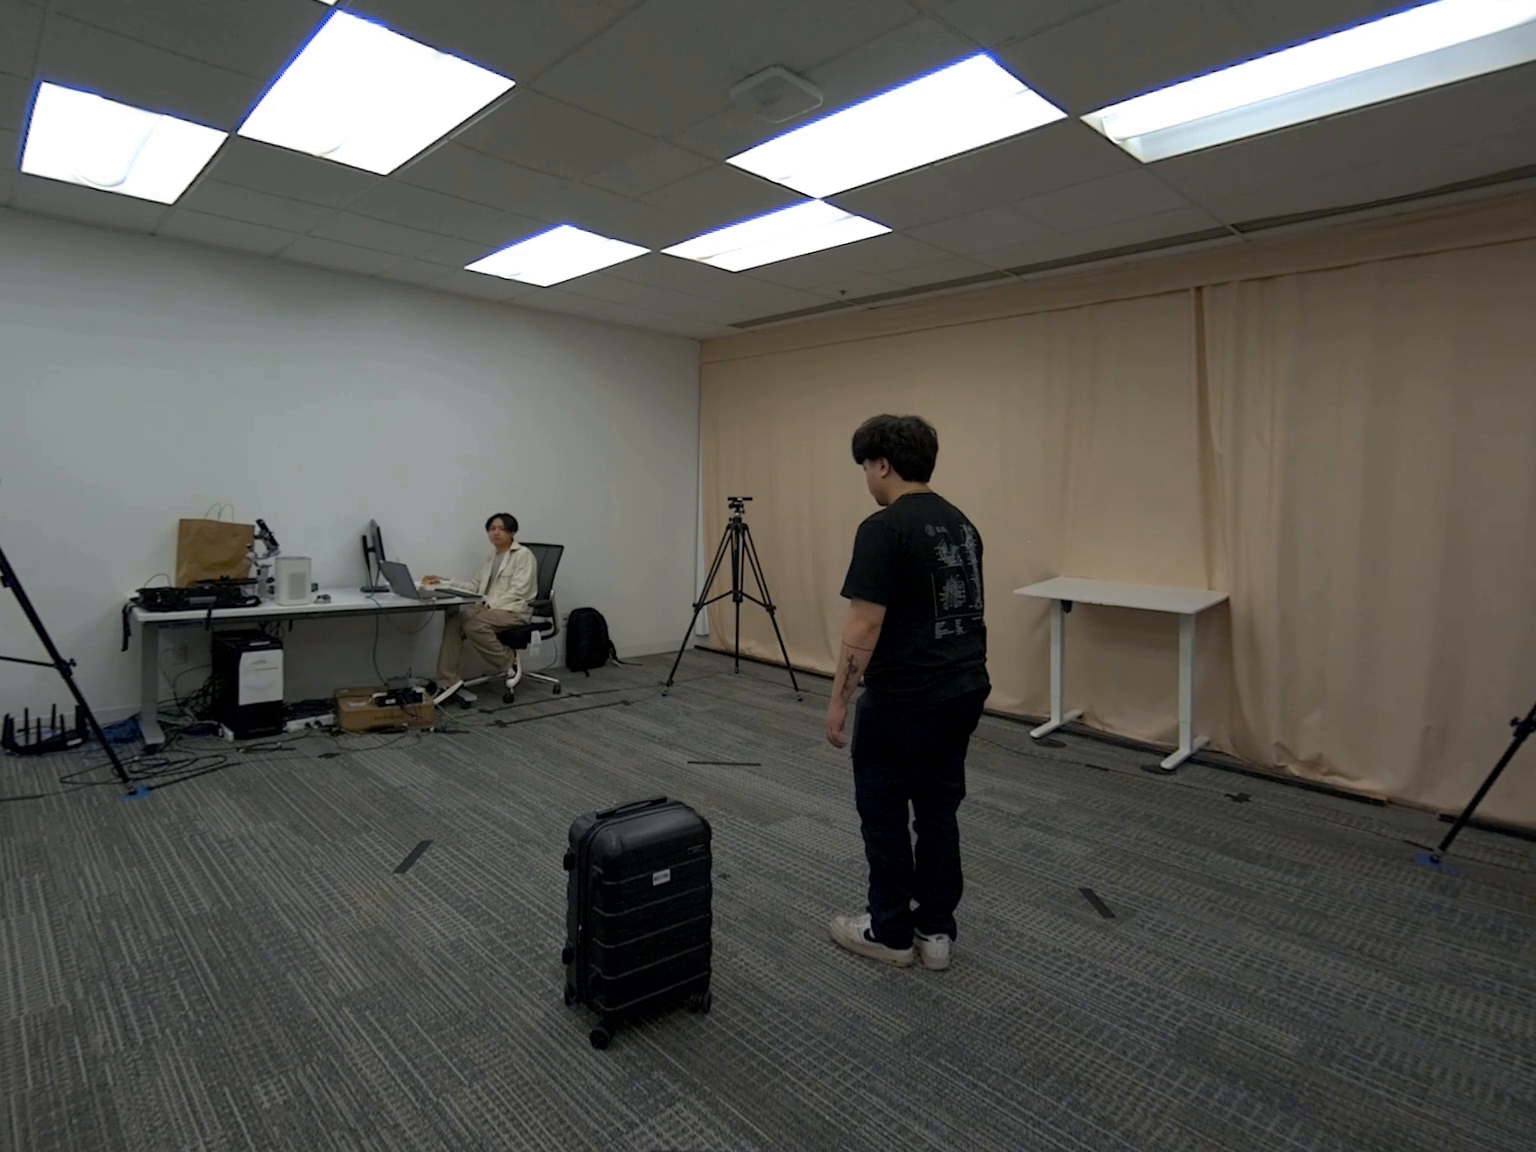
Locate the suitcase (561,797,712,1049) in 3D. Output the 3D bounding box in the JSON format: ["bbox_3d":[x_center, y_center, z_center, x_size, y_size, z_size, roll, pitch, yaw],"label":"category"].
[{"bbox_3d":[-0.347,0.905,2.277,0.367,0.548,0.254,-2,4,-38],"label":"suitcase"}]
